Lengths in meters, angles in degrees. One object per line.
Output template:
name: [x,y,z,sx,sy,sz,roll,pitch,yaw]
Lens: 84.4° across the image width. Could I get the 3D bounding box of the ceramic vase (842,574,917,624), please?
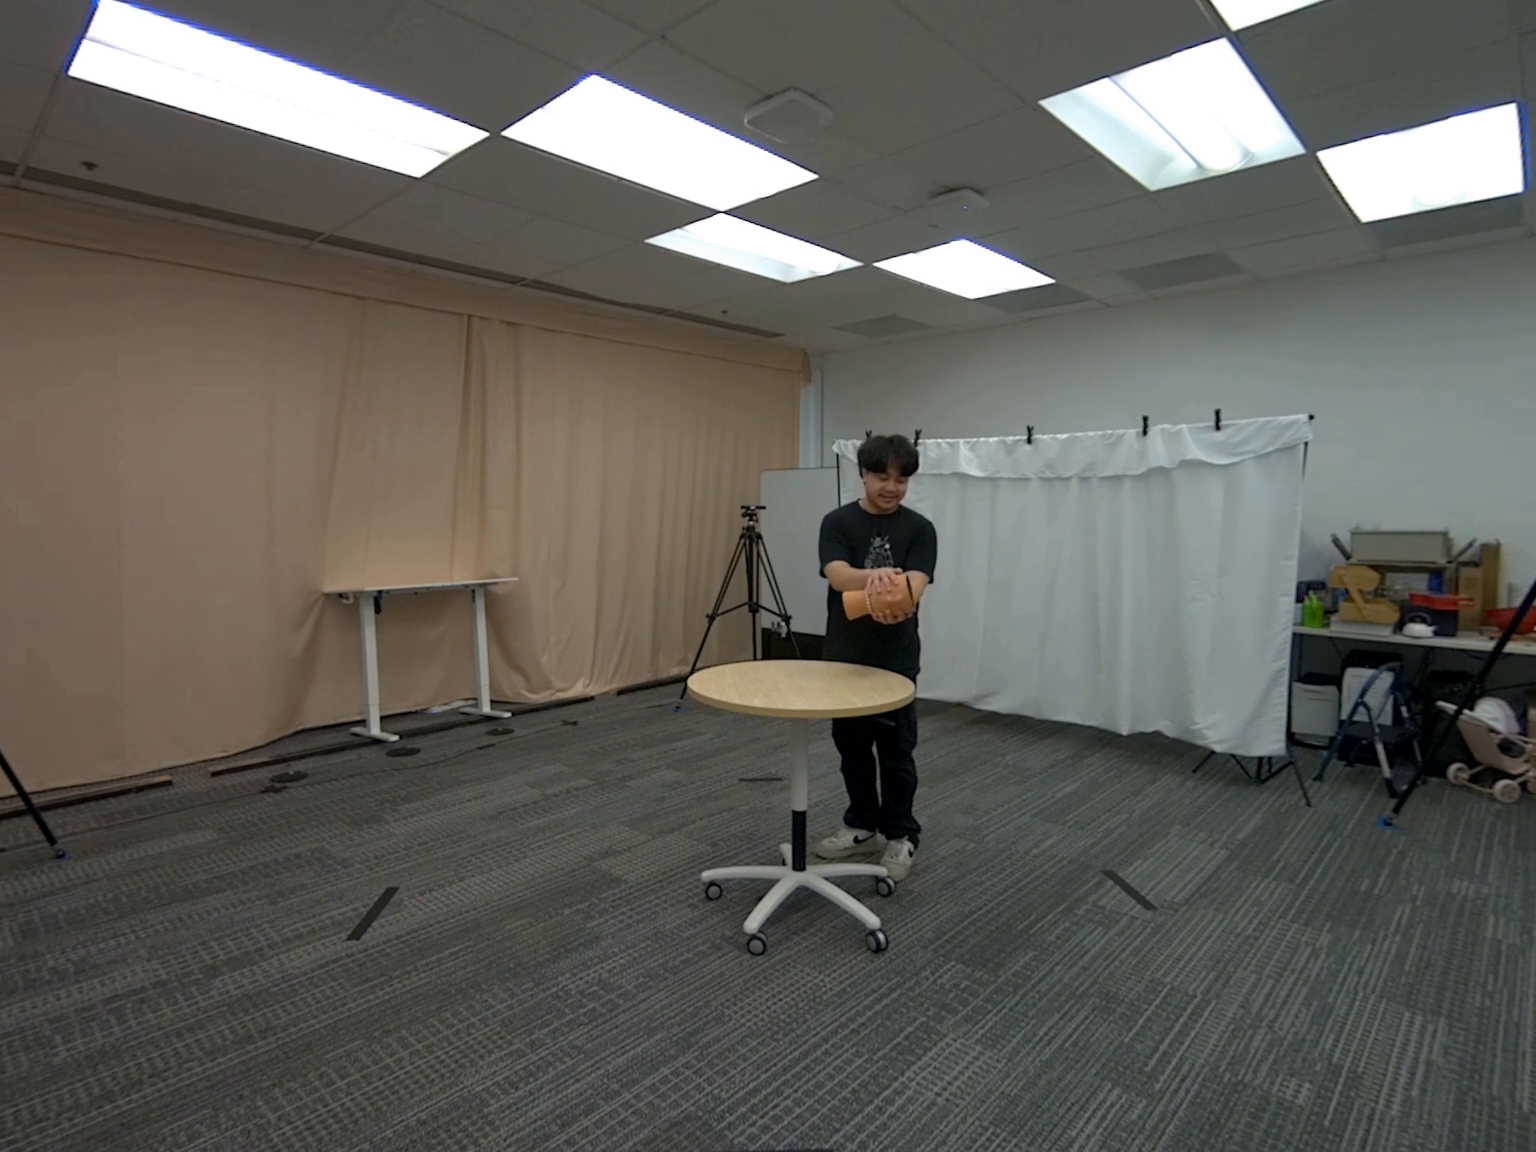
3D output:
ceramic vase: [0.368,0.079,2.833,0.223,0.137,0.154,-11,-35,16]
